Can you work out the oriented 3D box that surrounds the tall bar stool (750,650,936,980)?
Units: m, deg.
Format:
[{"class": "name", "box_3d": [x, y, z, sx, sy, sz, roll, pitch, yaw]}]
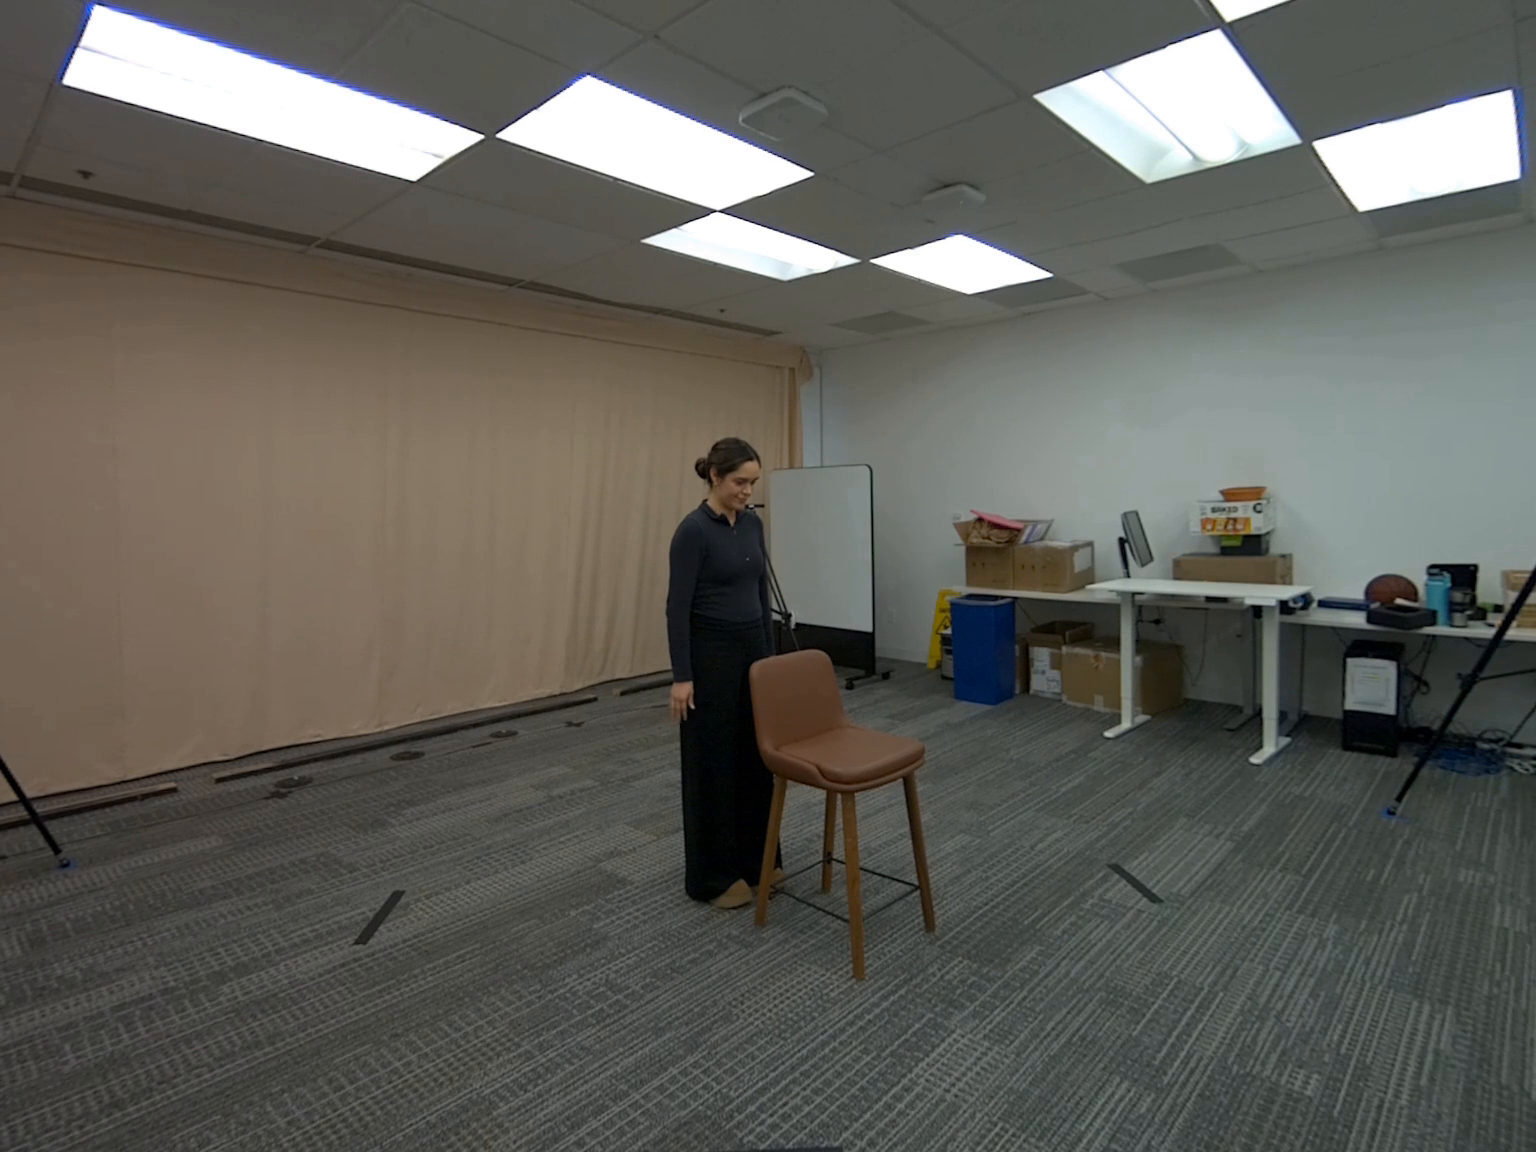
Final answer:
[{"class": "tall bar stool", "box_3d": [0.235, 0.718, 2.735, 0.442, 0.889, 0.482, -4, 3, -44]}]
